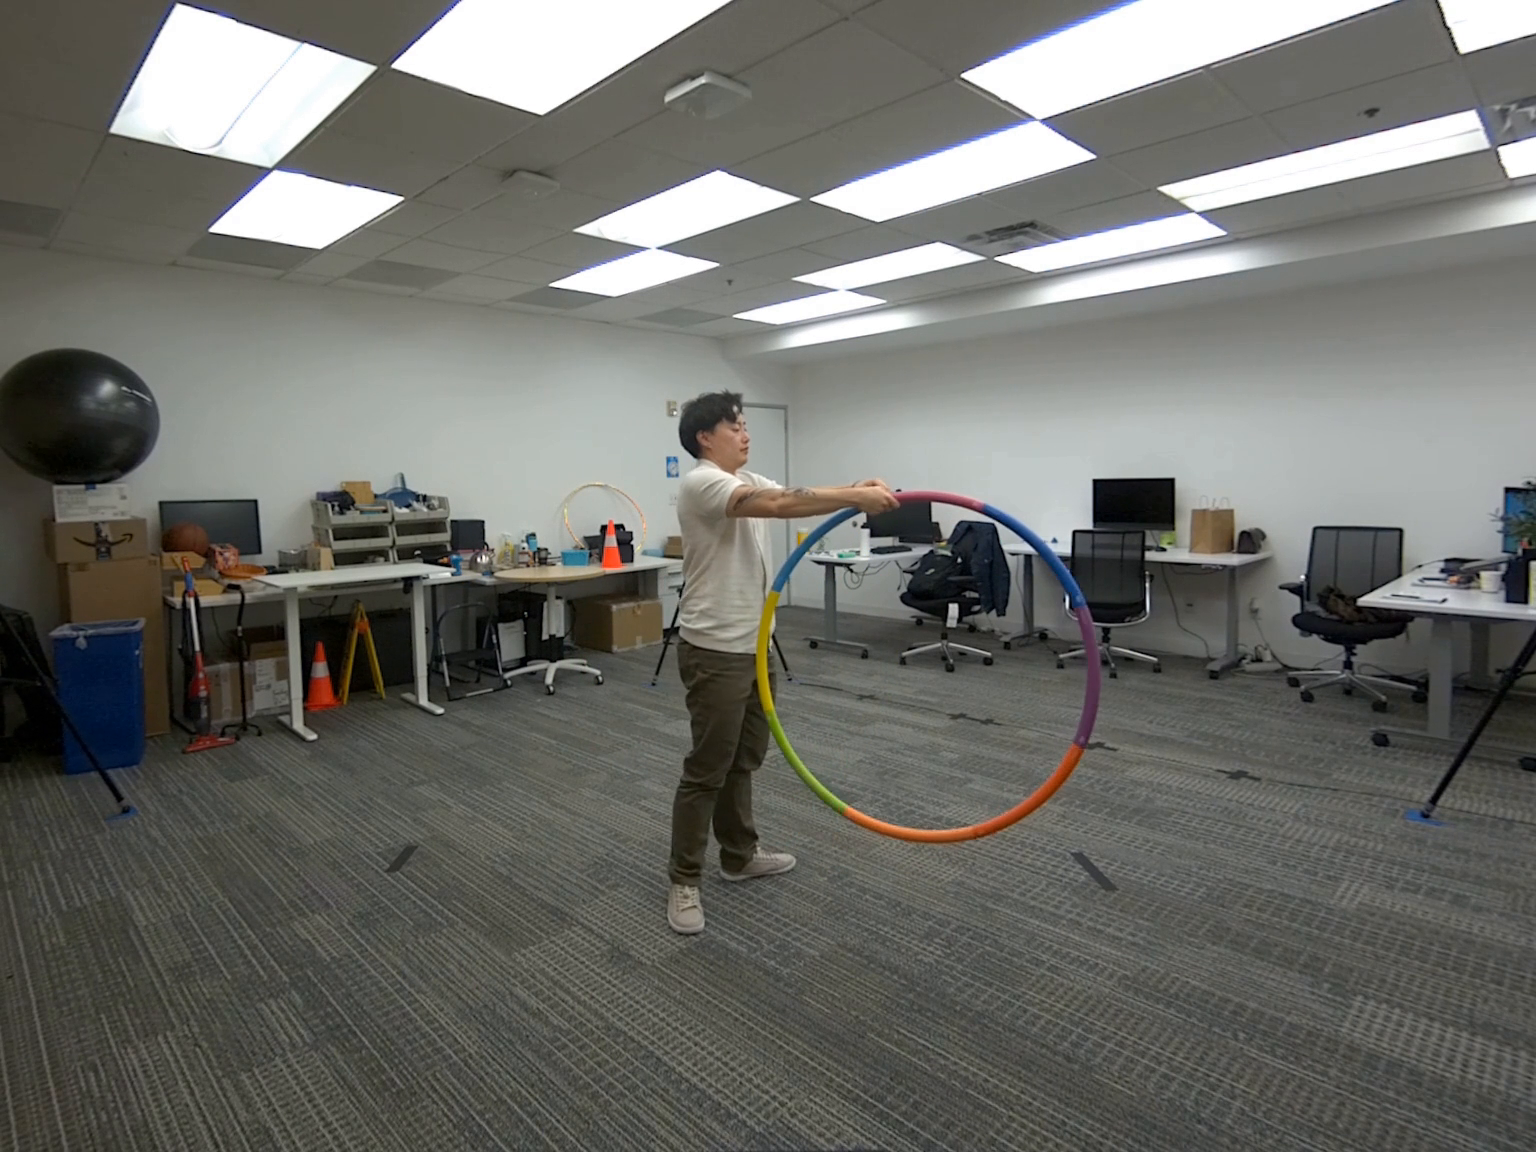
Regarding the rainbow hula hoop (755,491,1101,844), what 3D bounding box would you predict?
[{"bbox_3d":[0.413,0.250,2.451,1.002,0.983,0.034,1,-6,26],"label":"rainbow hula hoop"}]
